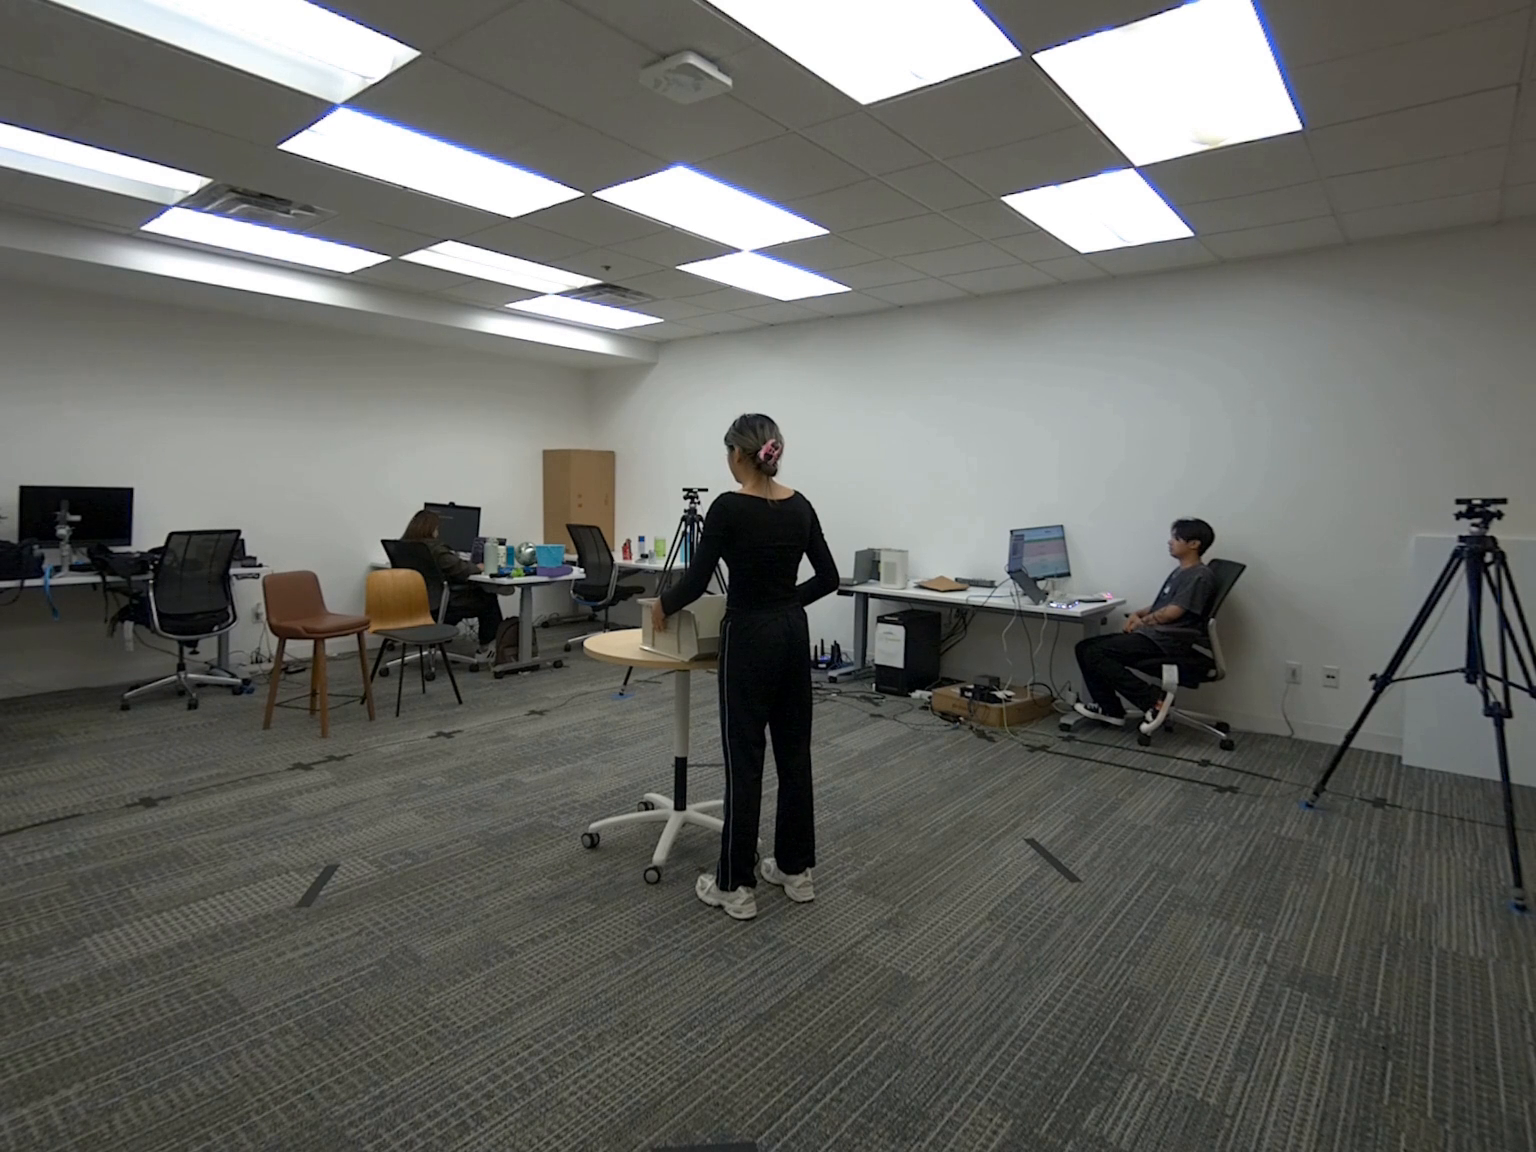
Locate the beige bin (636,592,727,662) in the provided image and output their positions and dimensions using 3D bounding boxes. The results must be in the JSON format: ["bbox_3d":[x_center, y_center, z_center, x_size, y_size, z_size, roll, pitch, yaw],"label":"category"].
[{"bbox_3d":[-0.210,0.178,3.125,0.410,0.189,0.389,-3,4,-38],"label":"beige bin"}]
